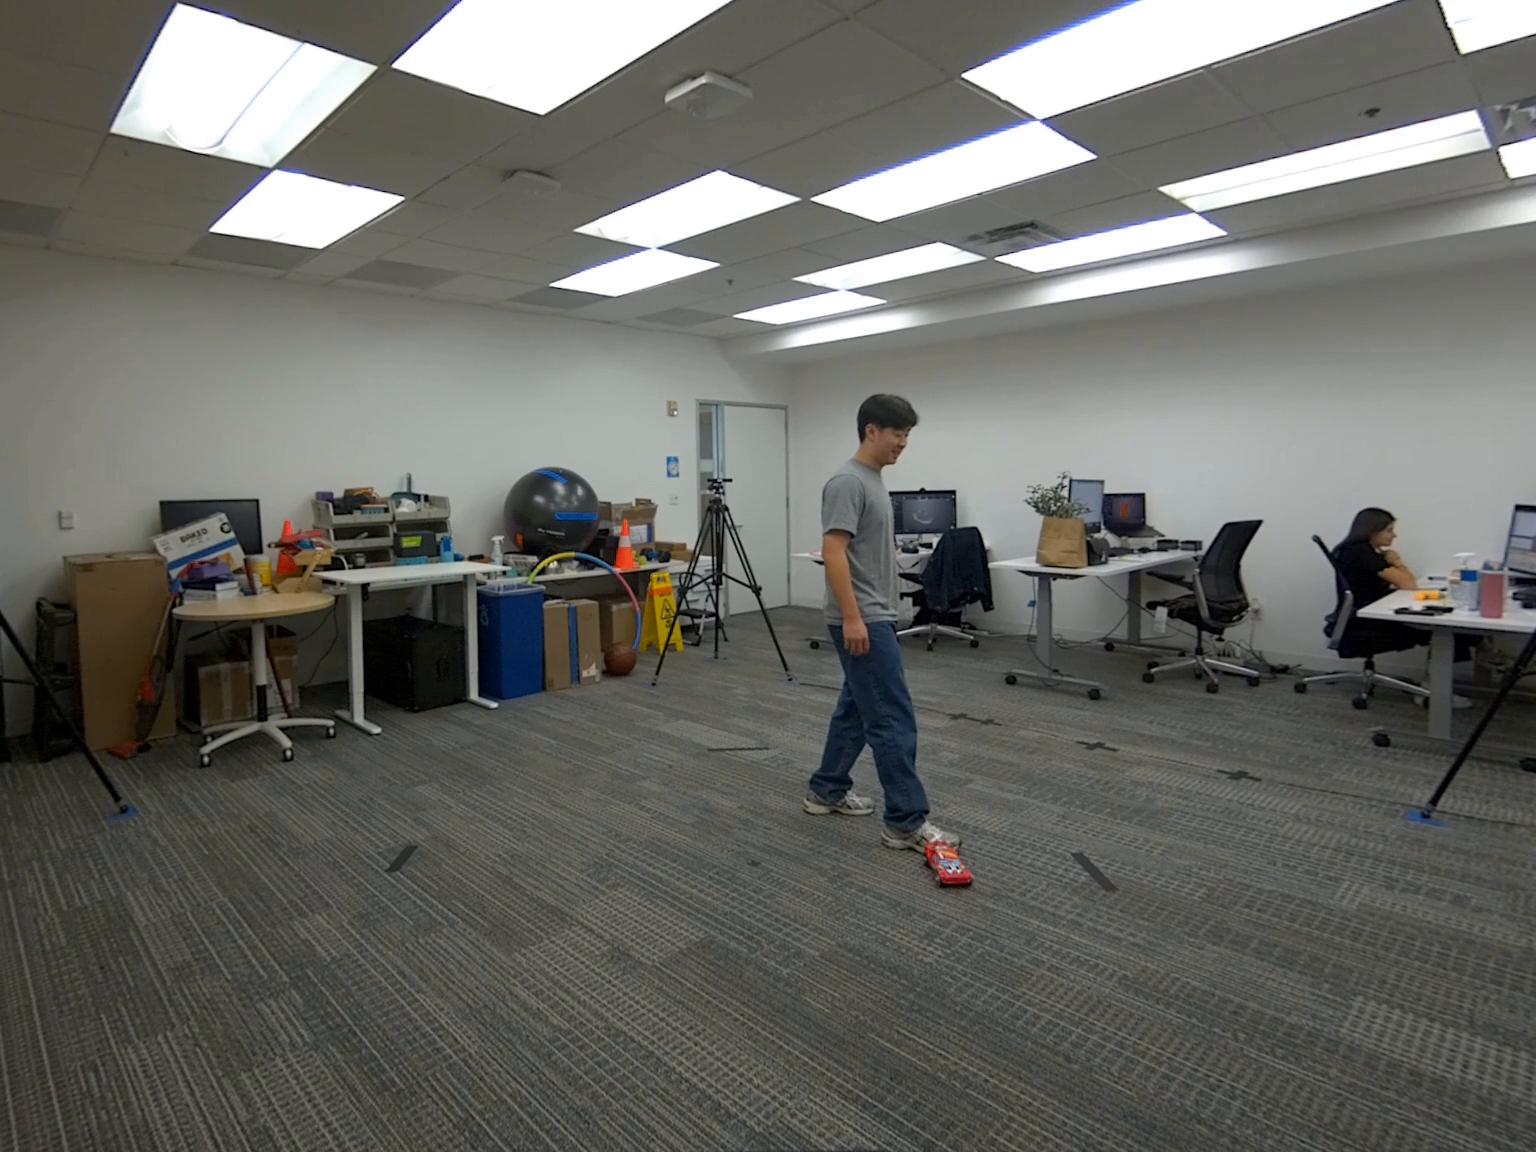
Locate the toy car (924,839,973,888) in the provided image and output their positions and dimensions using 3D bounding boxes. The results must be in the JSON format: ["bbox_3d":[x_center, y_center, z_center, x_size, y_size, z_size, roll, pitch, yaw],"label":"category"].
[{"bbox_3d":[0.631,1.019,3.002,0.130,0.082,0.259,-1,17,-3],"label":"toy car"}]
